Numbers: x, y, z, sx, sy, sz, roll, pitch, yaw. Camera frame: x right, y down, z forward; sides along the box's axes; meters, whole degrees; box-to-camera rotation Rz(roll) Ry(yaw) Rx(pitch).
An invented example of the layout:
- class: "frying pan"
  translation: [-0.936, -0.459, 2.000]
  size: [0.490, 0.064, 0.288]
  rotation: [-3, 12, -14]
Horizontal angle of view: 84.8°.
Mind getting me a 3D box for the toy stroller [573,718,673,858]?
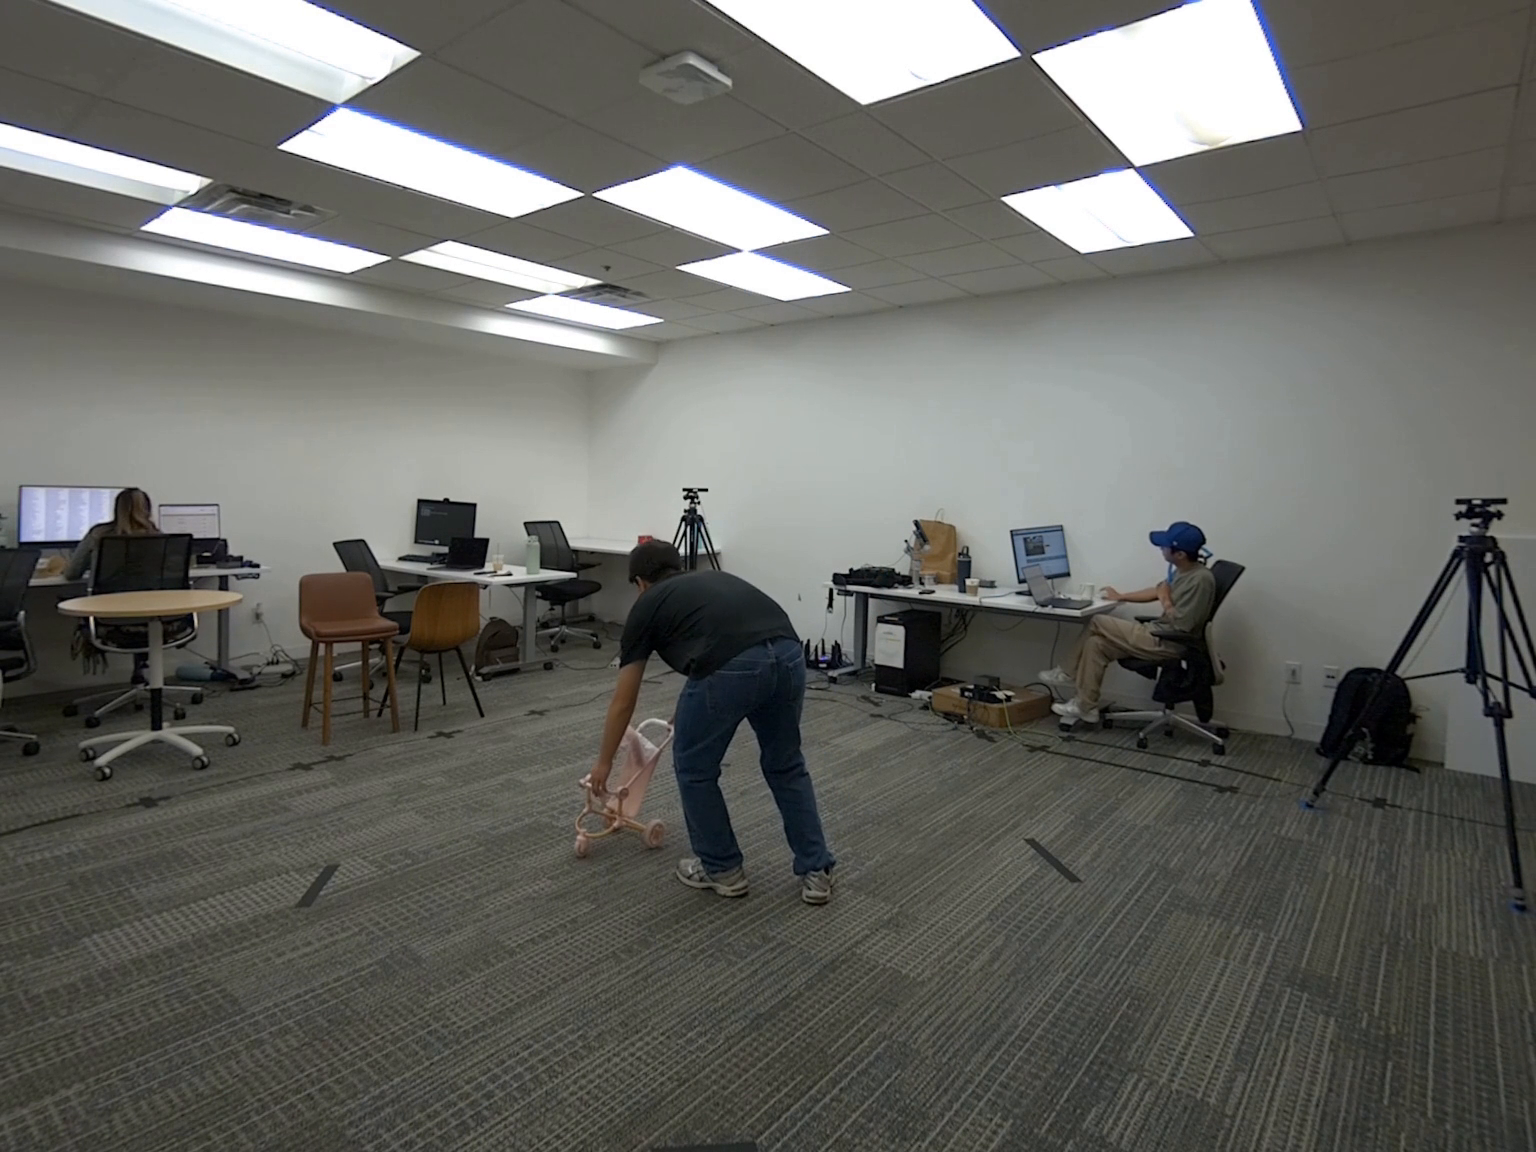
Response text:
- class: "toy stroller"
  translation: [-0.585, 0.816, 3.322]
  size: [0.328, 0.538, 0.291]
  rotation: [17, -9, -43]
